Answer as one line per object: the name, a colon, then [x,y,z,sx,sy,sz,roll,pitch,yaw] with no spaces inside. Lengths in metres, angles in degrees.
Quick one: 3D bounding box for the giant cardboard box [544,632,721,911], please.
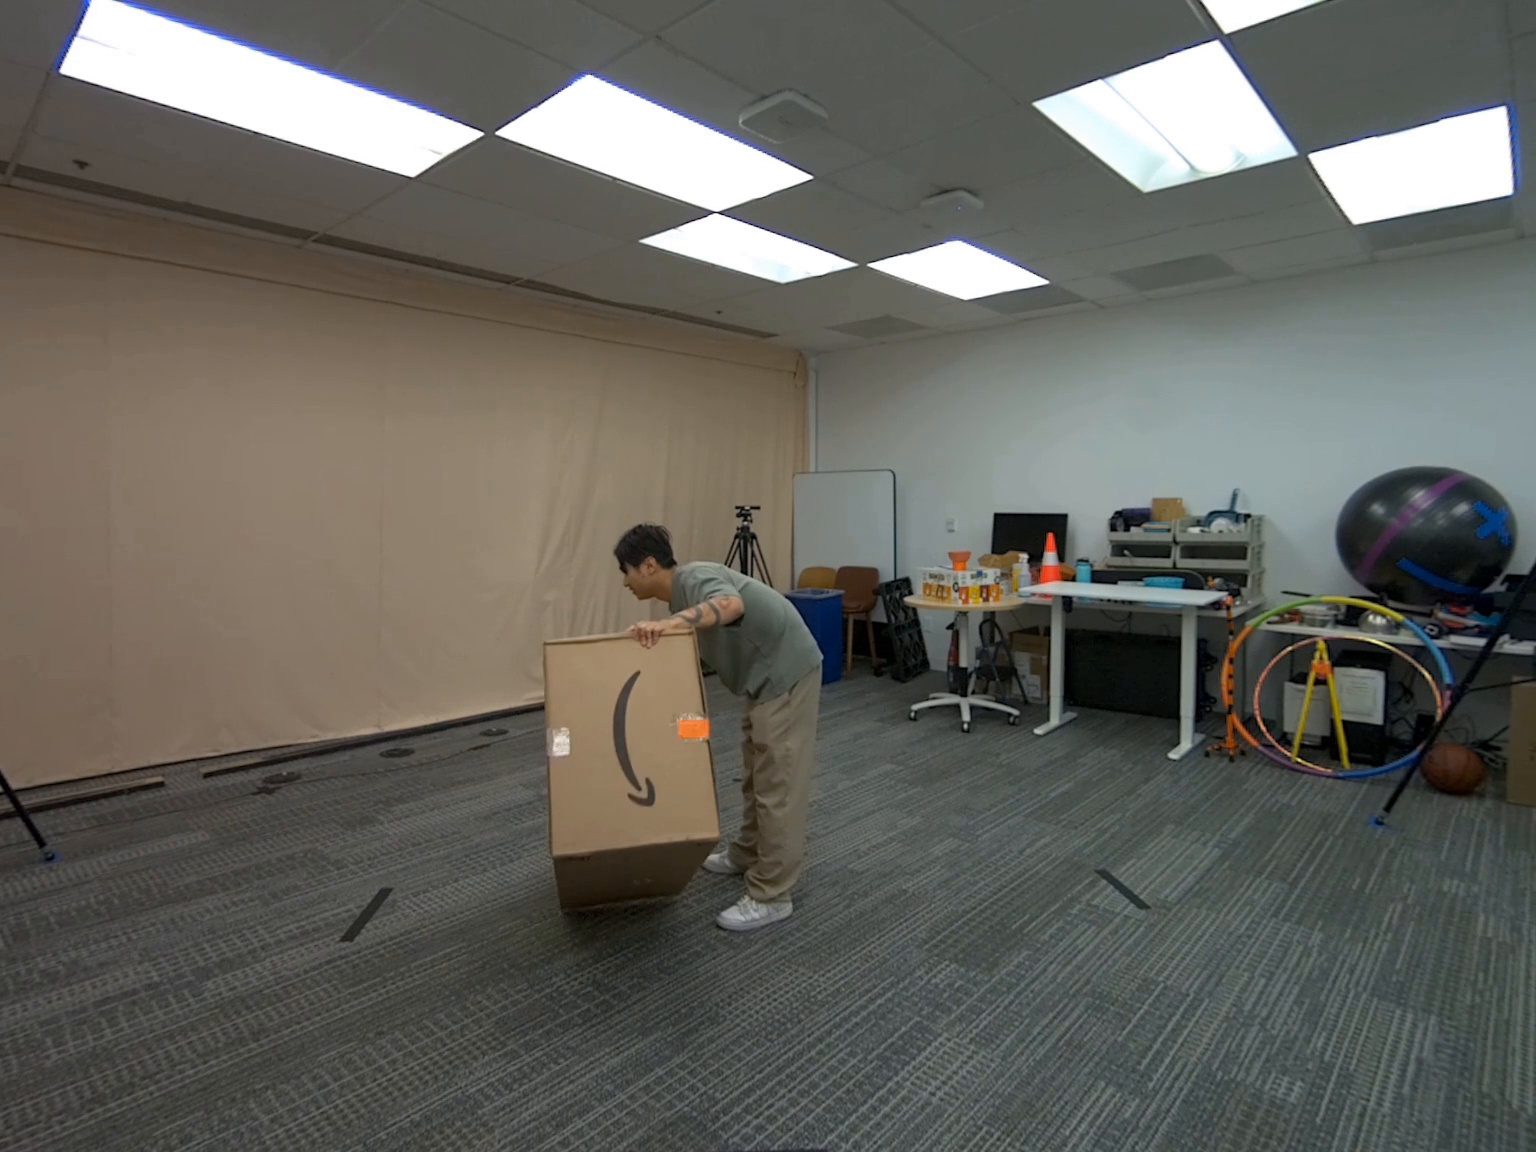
giant cardboard box: [-0.478,0.669,2.642,0.420,0.589,1.019,-3,-27,-14]
